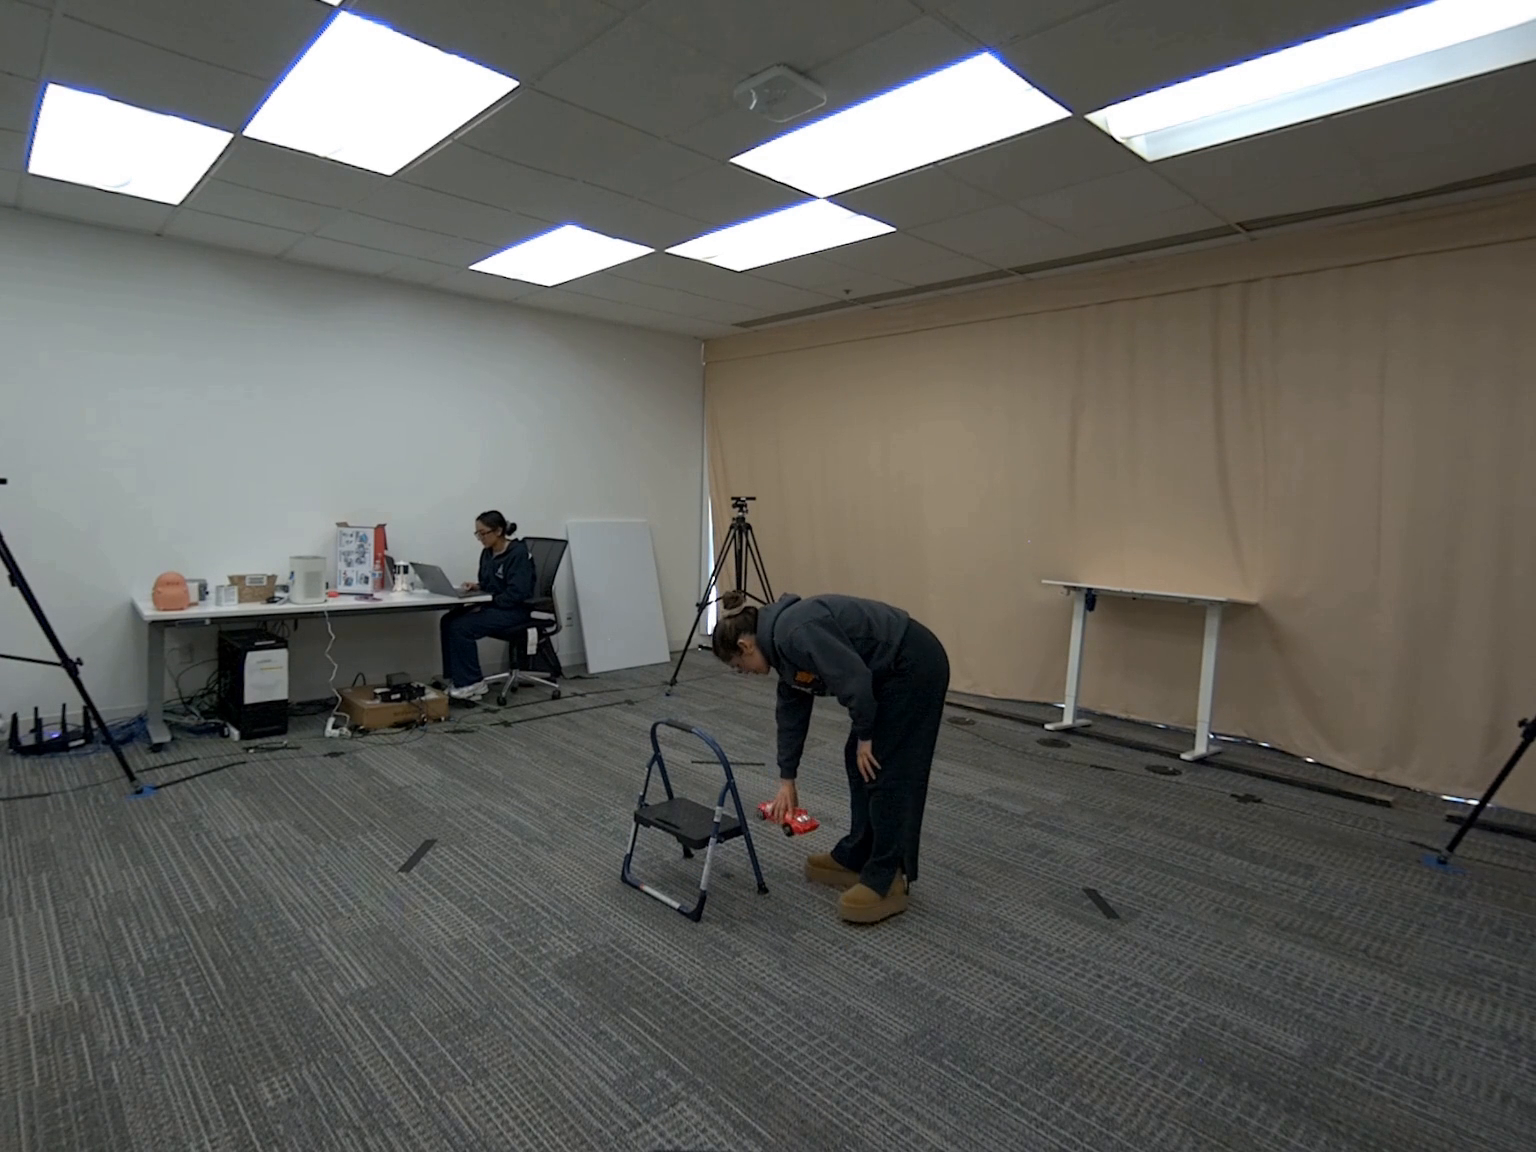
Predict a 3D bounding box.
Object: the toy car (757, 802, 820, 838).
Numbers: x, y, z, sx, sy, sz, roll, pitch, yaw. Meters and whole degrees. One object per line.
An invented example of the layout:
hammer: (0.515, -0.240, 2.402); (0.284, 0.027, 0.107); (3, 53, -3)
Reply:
toy car: (0.077, 0.879, 3.051); (0.127, 0.083, 0.260); (-3, 1, -40)
